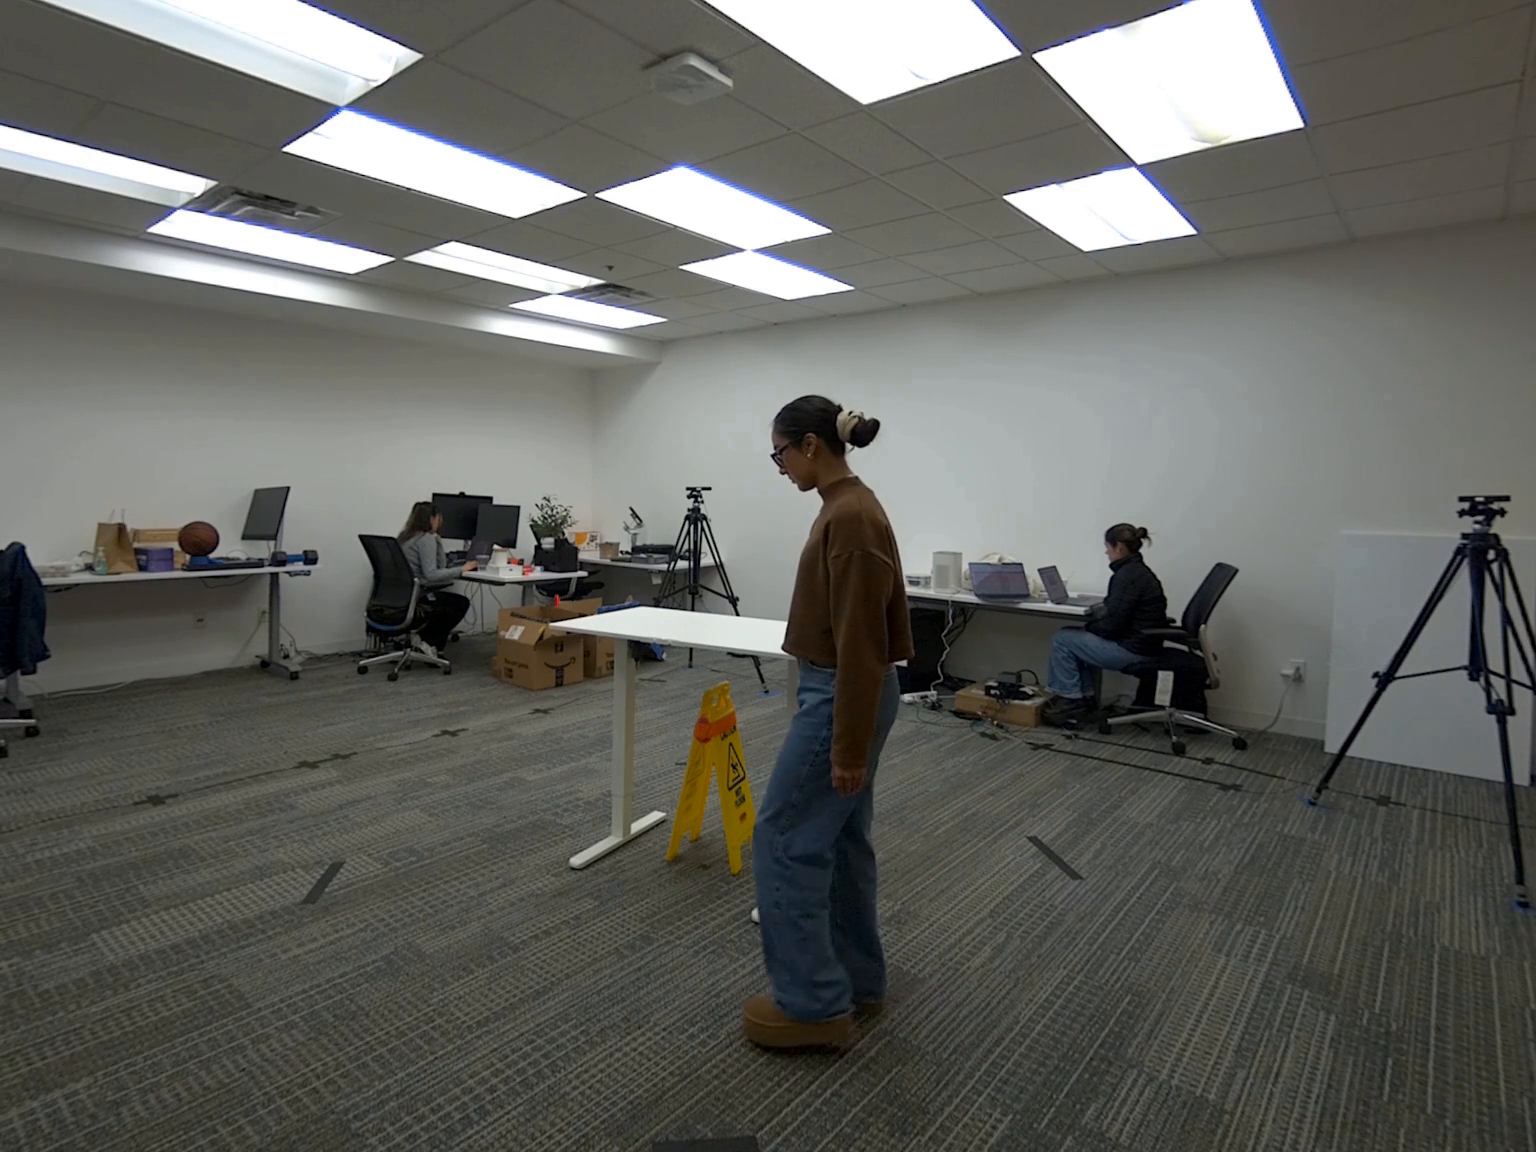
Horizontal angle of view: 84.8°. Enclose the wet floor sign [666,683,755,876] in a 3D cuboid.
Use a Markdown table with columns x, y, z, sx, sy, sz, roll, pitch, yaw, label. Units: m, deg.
| x | y | z | sx | sy | sz | roll | pitch | yaw | label |
| --- | --- | --- | --- | --- | --- | --- | --- | --- | --- |
| -0.205 | 0.731 | 3.215 | 0.296 | 0.644 | 0.276 | 2 | 3 | 21 | wet floor sign |
